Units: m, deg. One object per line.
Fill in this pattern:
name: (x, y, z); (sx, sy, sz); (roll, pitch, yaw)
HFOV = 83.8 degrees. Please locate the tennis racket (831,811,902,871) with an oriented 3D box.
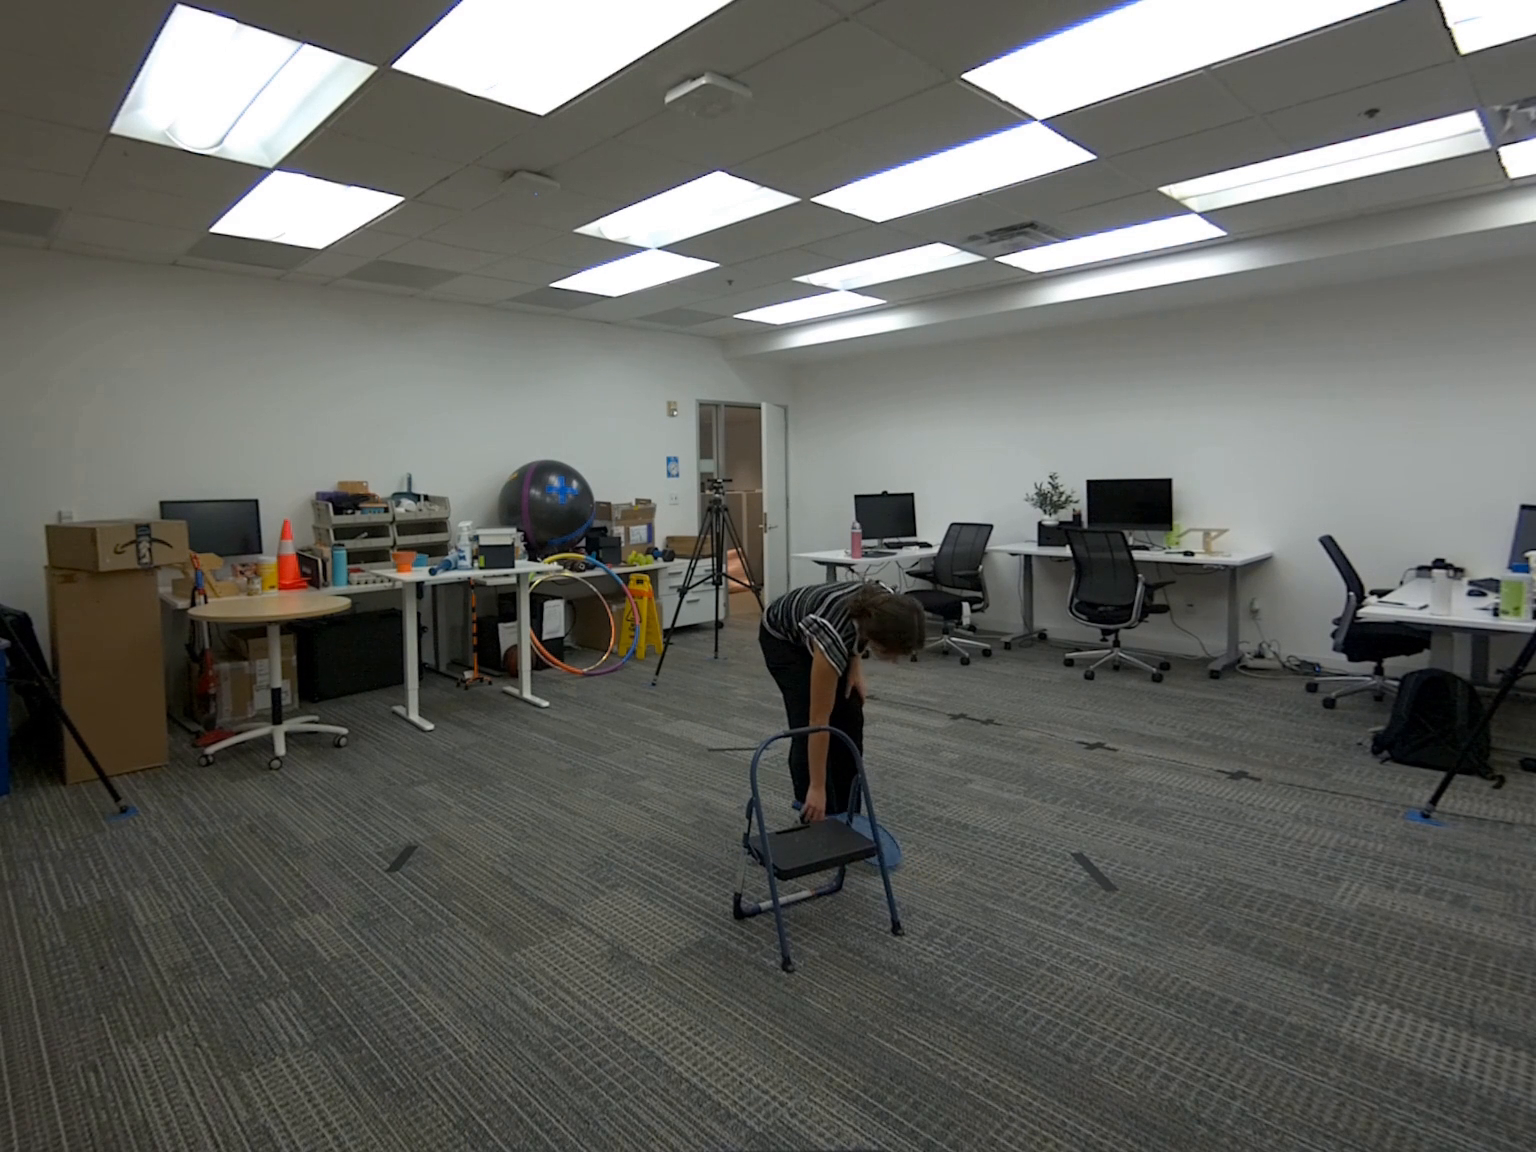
tennis racket: (0.285, 0.911, 3.082); (0.436, 0.031, 0.215); (25, 28, 6)
